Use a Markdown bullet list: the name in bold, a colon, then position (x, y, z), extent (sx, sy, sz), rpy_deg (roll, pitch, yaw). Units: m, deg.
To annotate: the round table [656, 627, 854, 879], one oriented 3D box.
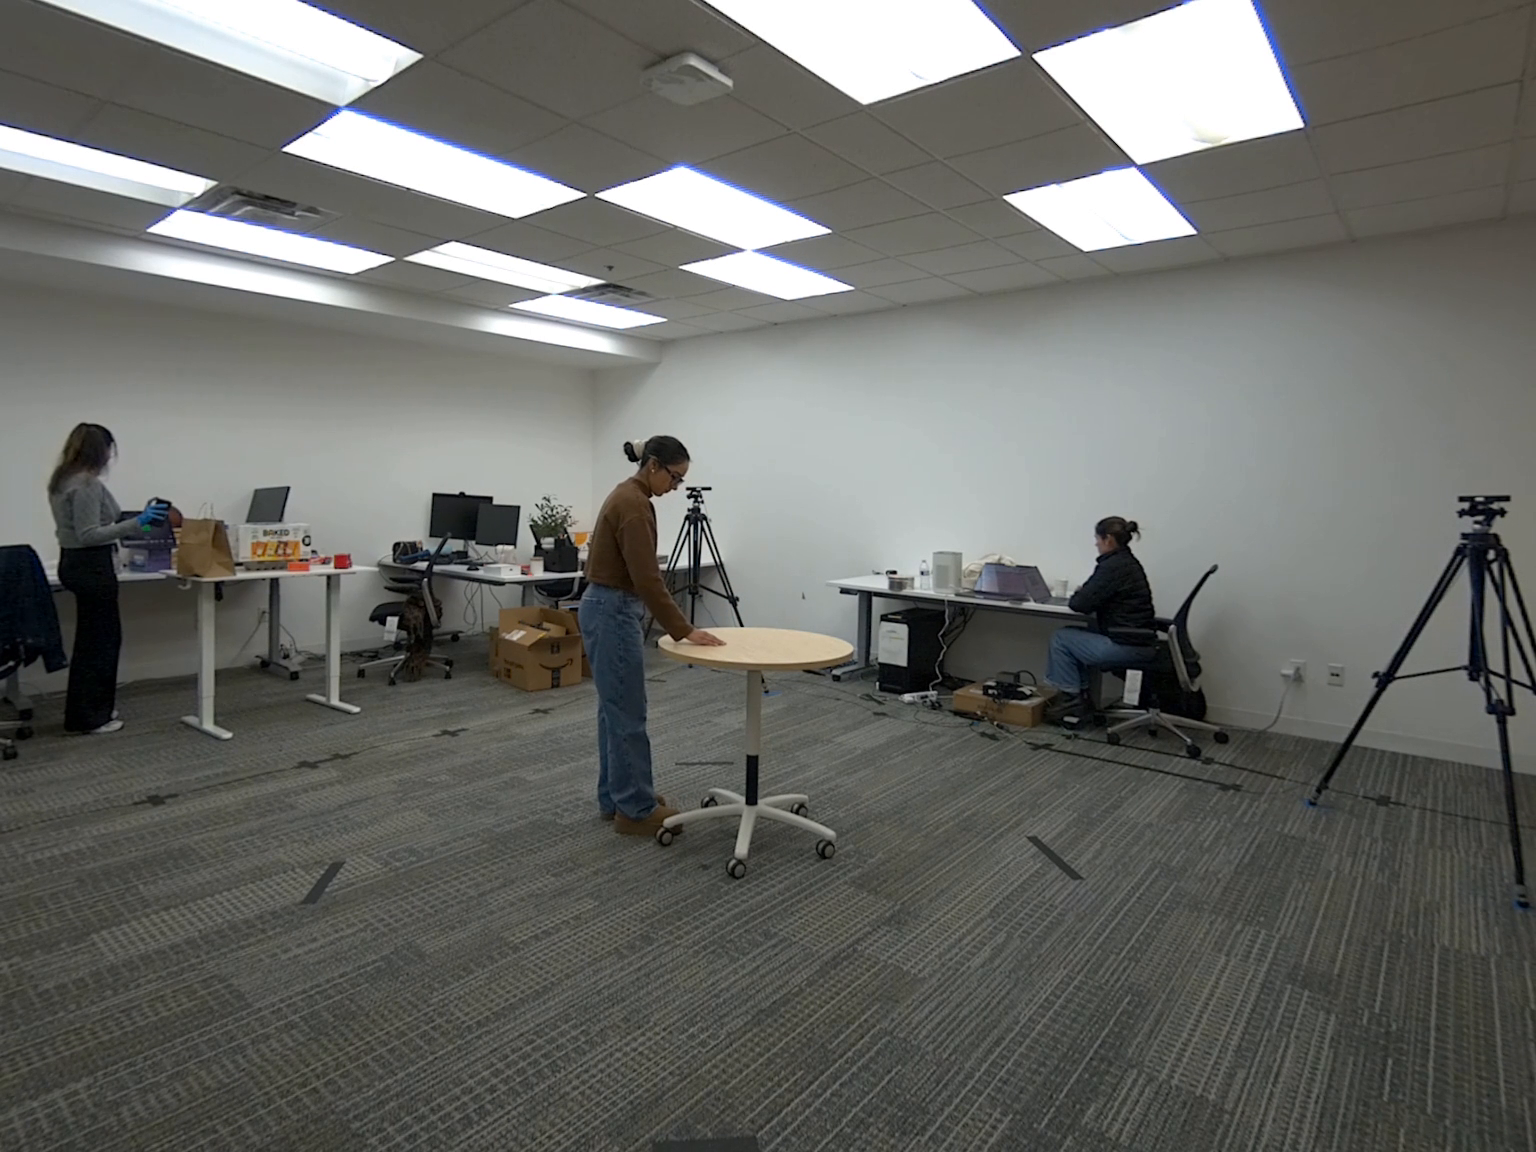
- **round table**: position (-0.068, 0.656, 3.365), extent (0.763, 0.791, 0.768), rpy_deg (1, 4, -2)
